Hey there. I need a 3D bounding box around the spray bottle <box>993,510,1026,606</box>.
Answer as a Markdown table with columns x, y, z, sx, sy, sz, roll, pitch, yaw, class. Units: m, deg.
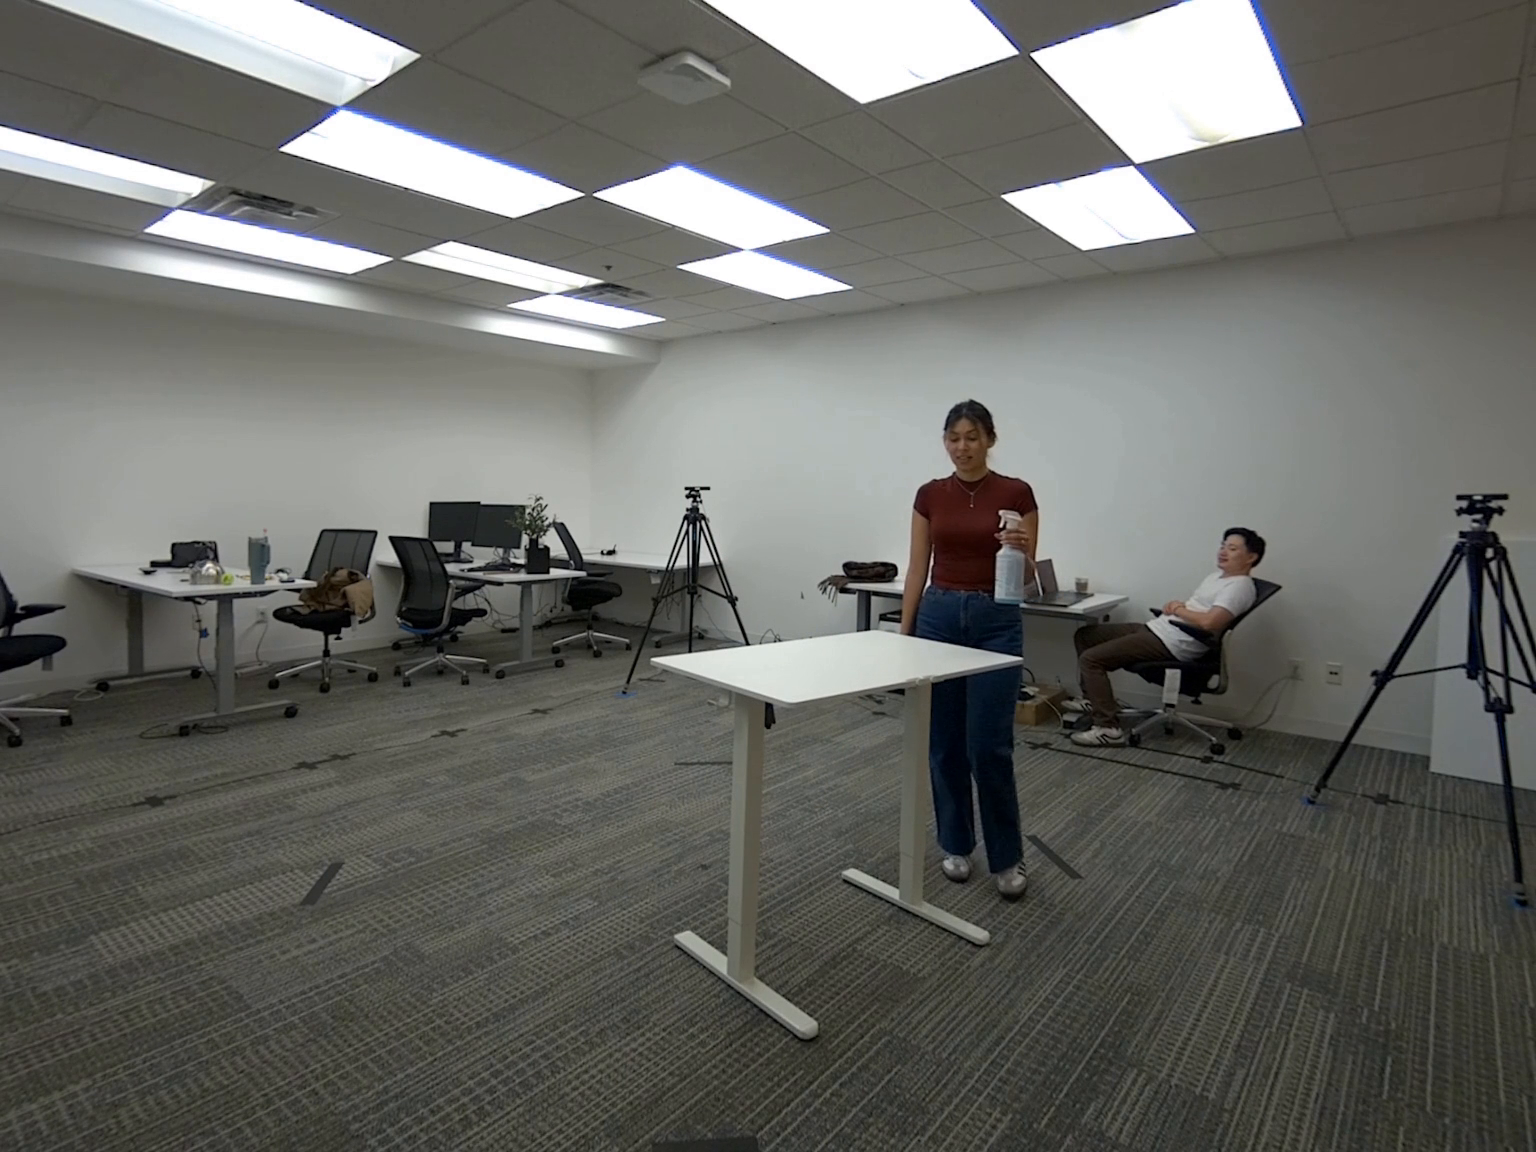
| x | y | z | sx | sy | sz | roll | pitch | yaw | class |
| --- | --- | --- | --- | --- | --- | --- | --- | --- | --- |
| 0.778 | -0.066 | 2.745 | 0.090 | 0.297 | 0.087 | 1 | 0 | 1 | spray bottle |
